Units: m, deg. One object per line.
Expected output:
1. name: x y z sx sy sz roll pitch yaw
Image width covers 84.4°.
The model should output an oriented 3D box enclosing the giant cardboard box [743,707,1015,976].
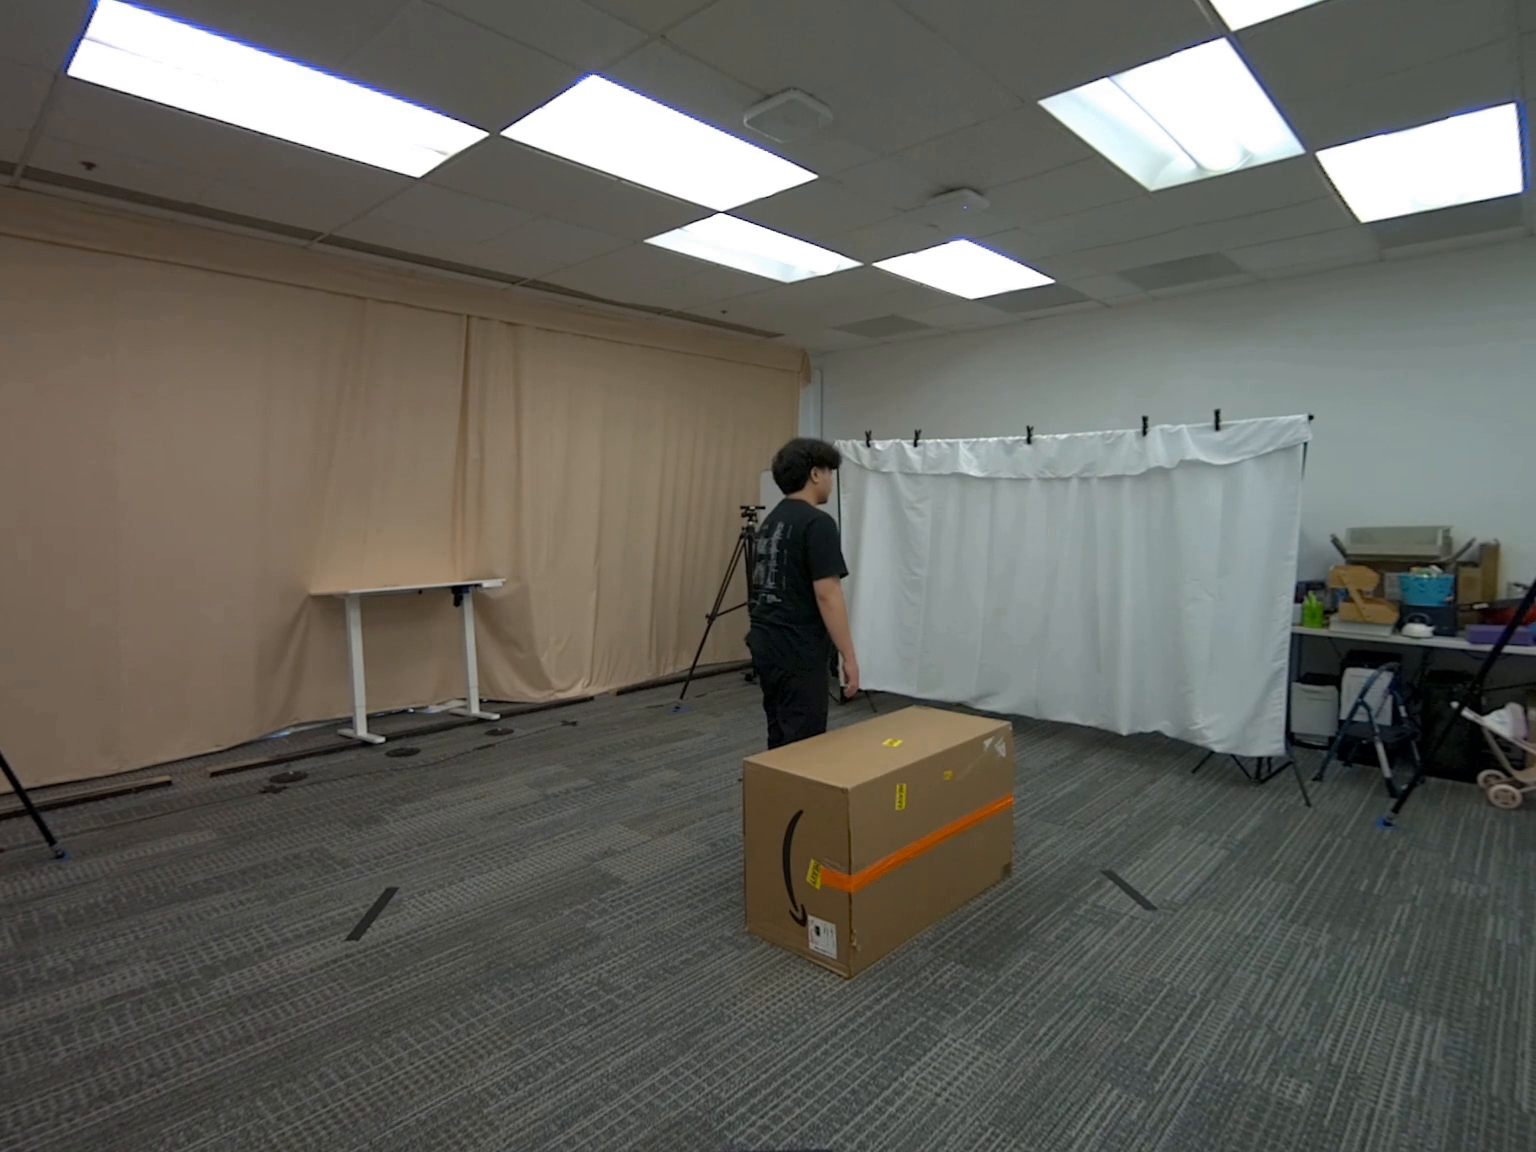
1. giant cardboard box: 0.427 0.860 2.953 0.462 0.582 0.996 4 7 43
